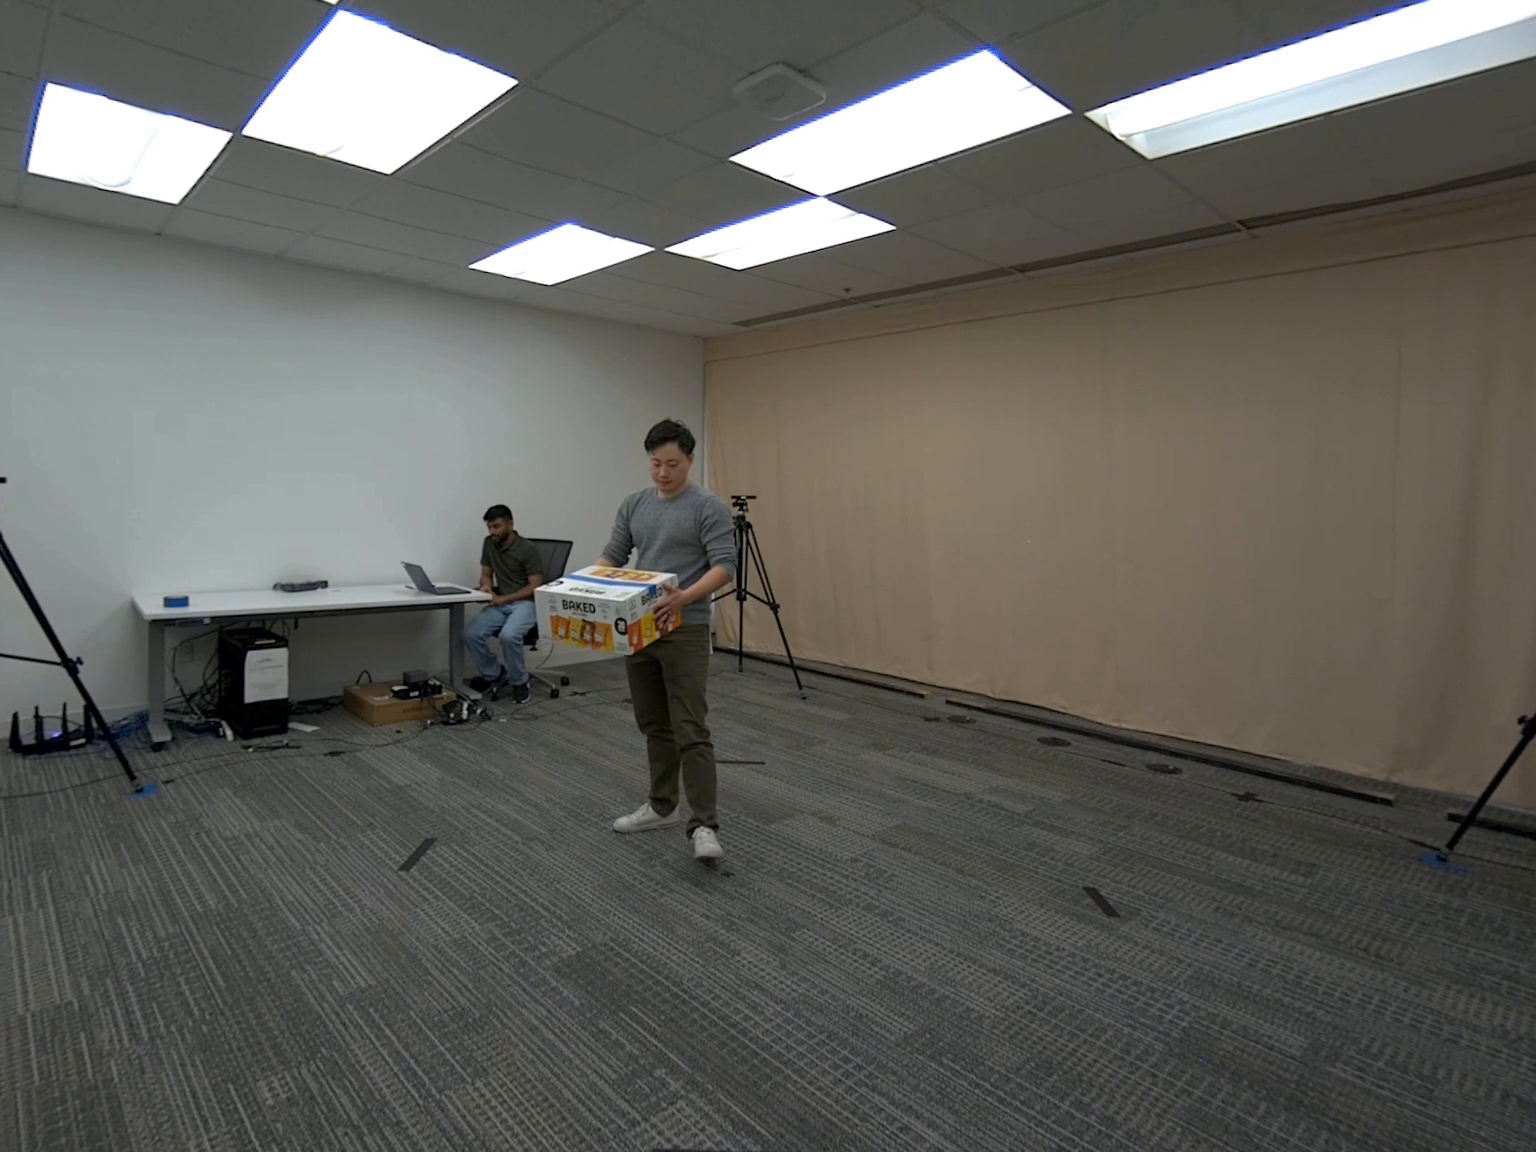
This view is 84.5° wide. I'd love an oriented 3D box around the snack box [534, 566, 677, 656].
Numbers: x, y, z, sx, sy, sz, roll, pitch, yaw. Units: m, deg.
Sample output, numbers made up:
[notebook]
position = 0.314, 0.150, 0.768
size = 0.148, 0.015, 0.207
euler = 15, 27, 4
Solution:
[snack box]
position = -0.596, 0.116, 3.123
size = 0.414, 0.203, 0.337
euler = 5, 17, 28
